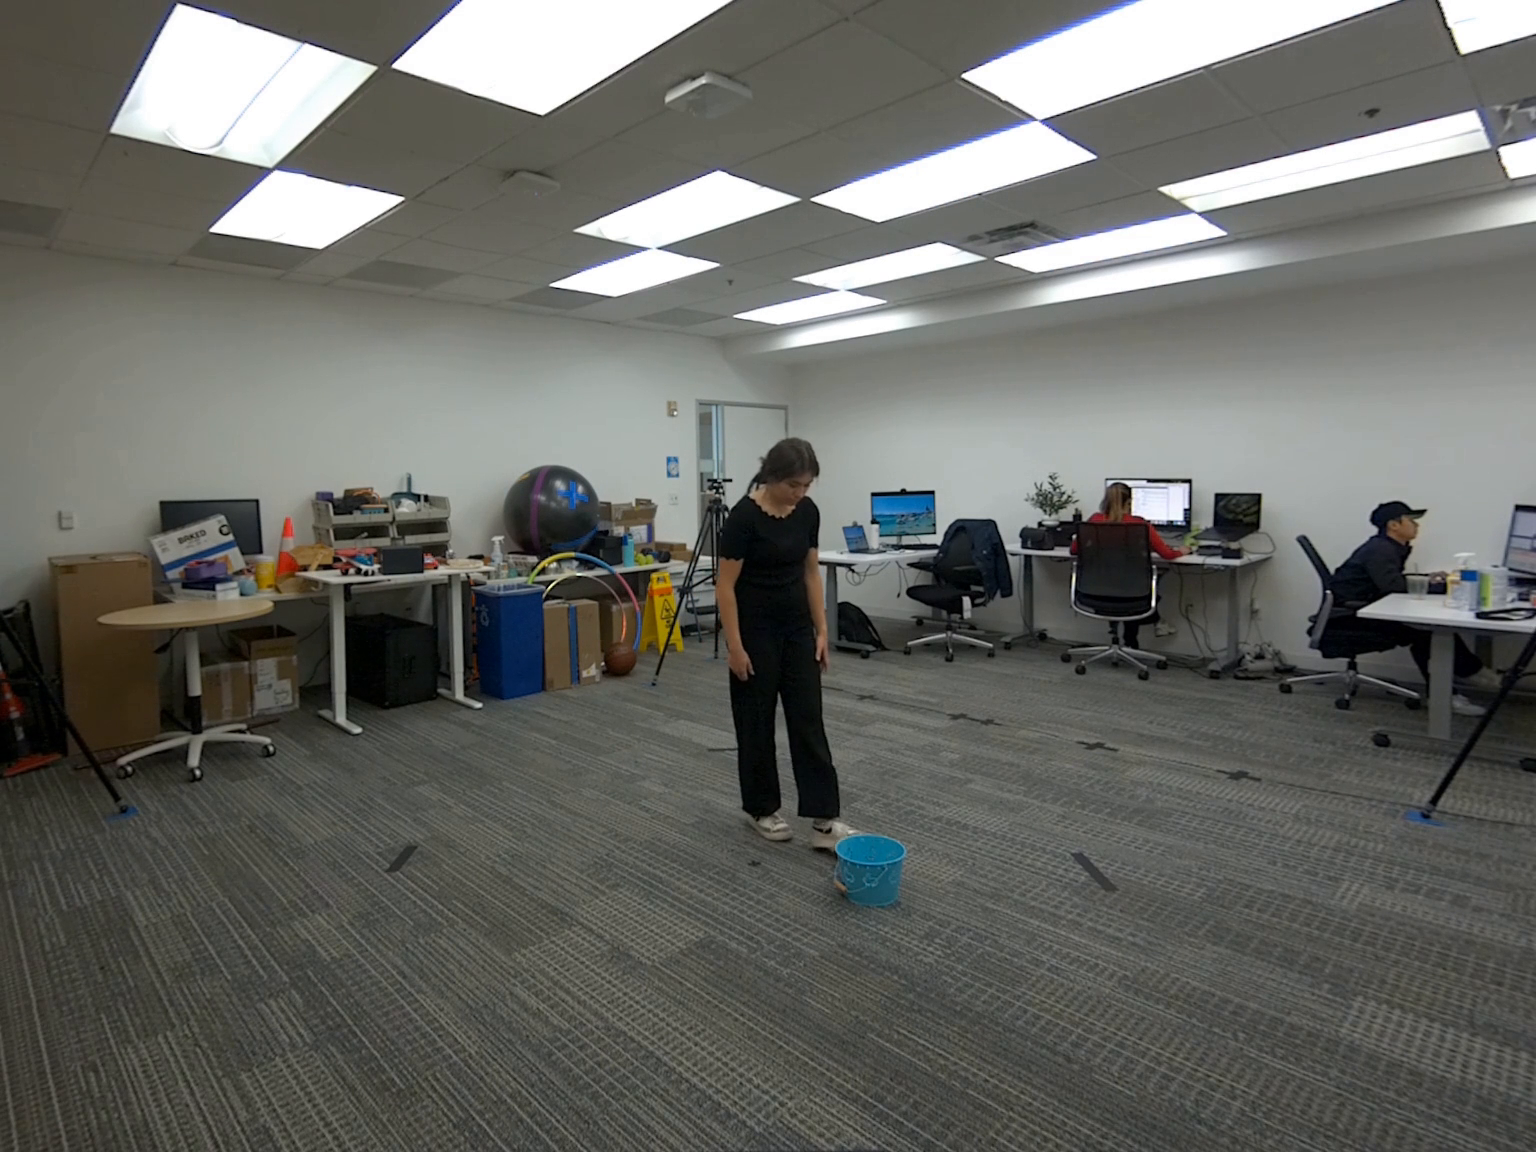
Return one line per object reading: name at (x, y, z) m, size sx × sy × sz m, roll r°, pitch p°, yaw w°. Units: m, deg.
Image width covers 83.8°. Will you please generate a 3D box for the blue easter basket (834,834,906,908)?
blue easter basket at (0.342, 0.986, 2.859) m, size 0.243 × 0.155 × 0.245 m, roll -1°, pitch 6°, yaw -2°
